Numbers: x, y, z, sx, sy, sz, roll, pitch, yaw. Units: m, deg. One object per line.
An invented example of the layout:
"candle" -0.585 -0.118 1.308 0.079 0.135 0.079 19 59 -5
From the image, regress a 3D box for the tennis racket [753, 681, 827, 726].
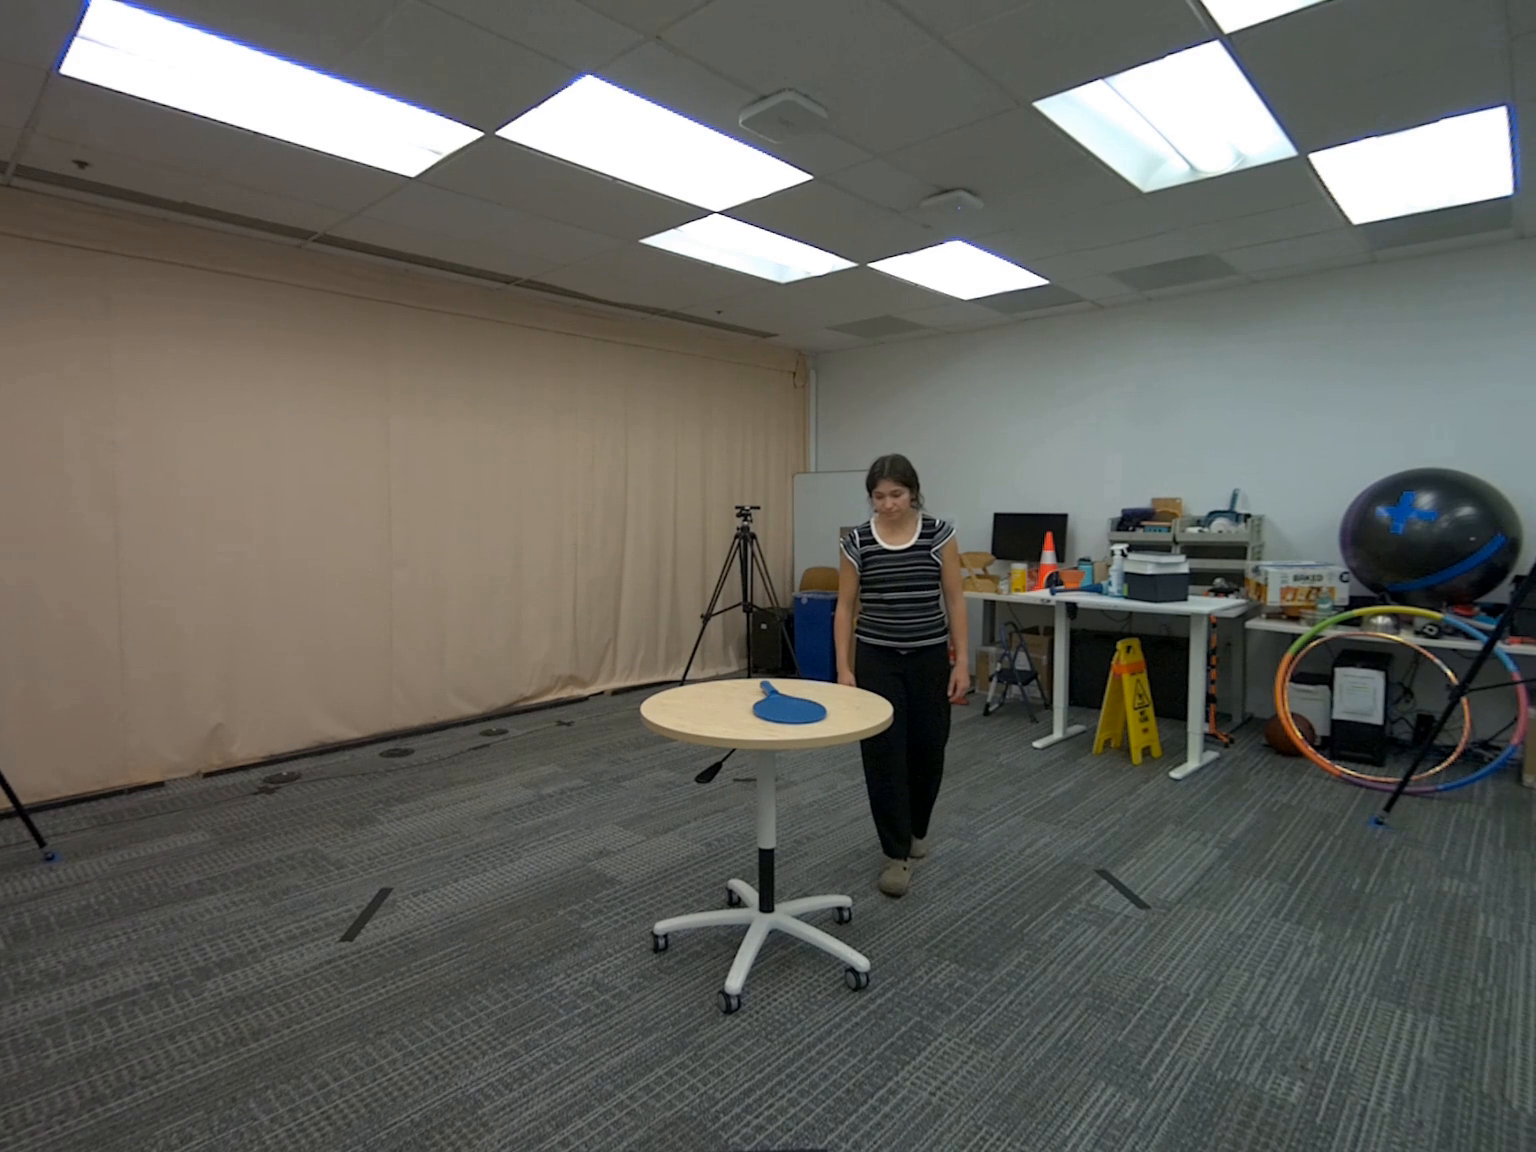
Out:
"tennis racket" 0.052 0.390 2.546 0.211 0.031 0.440 -2 7 -14
